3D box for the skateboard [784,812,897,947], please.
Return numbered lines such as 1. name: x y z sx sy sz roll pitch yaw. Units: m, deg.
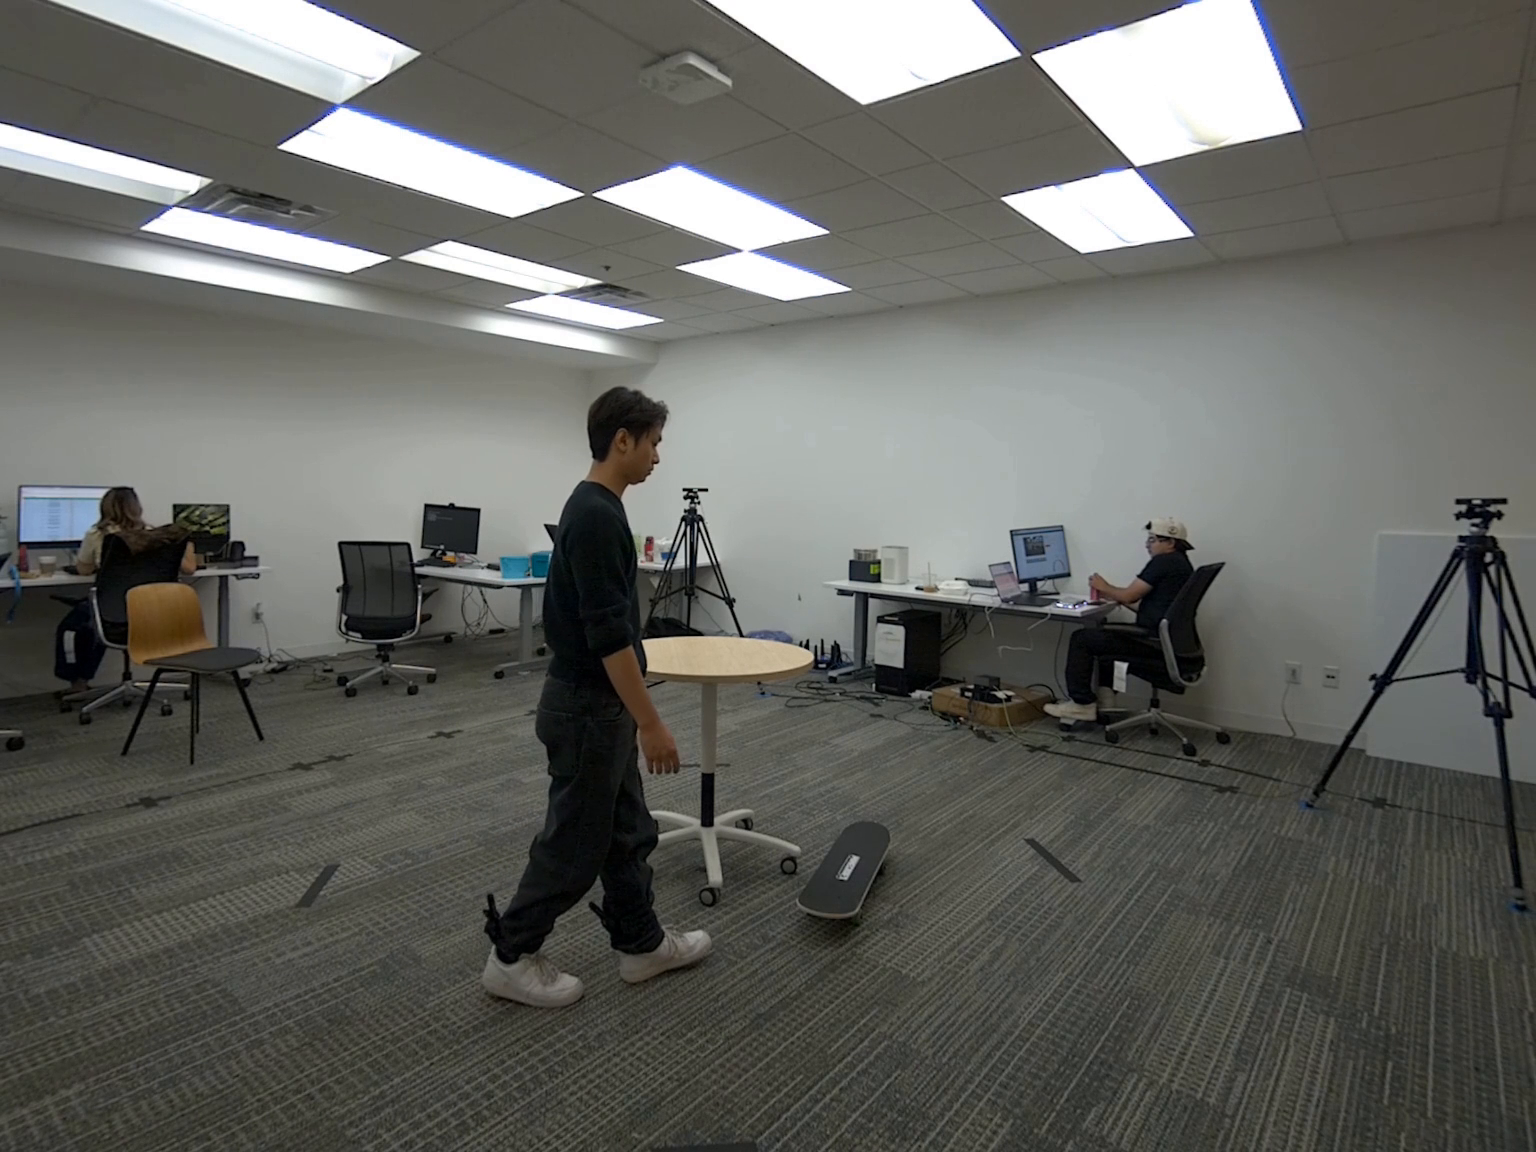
1. skateboard: 0.274 1.032 2.950 0.198 0.110 0.771 3 6 20
